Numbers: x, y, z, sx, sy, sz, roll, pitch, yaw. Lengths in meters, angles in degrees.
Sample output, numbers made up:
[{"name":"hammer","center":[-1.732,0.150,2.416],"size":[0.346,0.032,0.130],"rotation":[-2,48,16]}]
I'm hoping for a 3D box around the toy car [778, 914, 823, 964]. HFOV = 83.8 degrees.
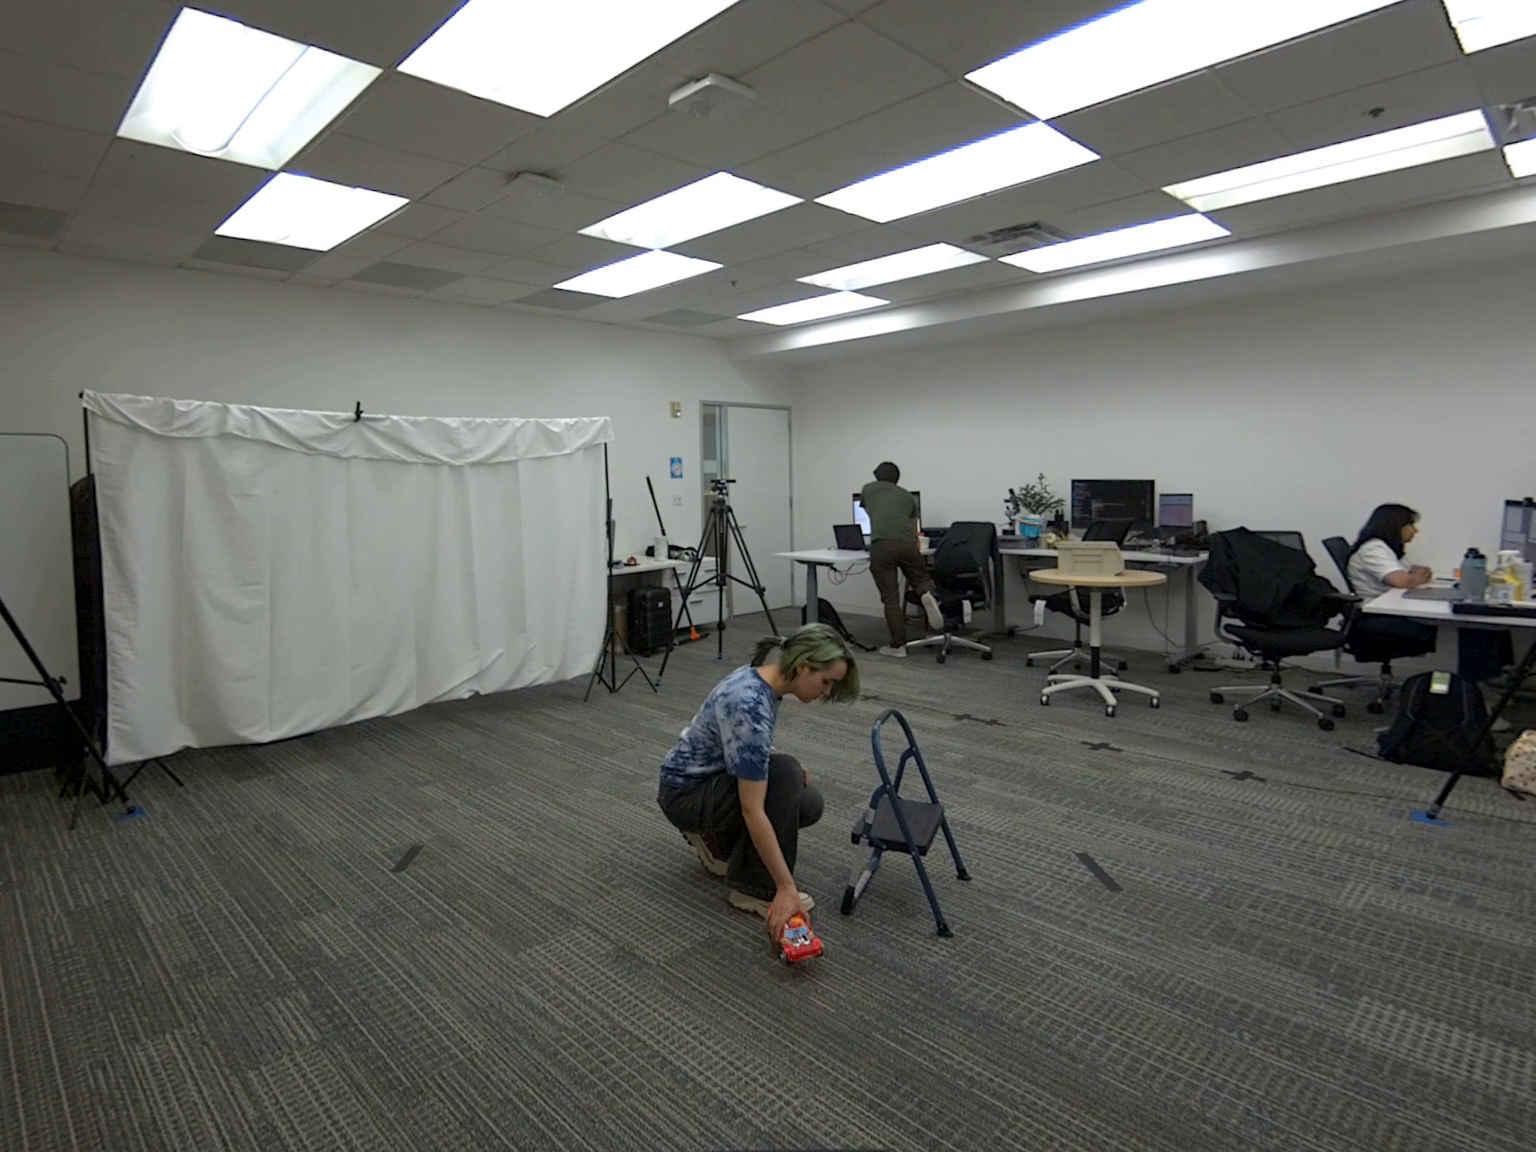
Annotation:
[{"name":"toy car","center":[0.066,1.046,2.501],"size":[0.129,0.082,0.261],"rotation":[-10,17,-15]}]
